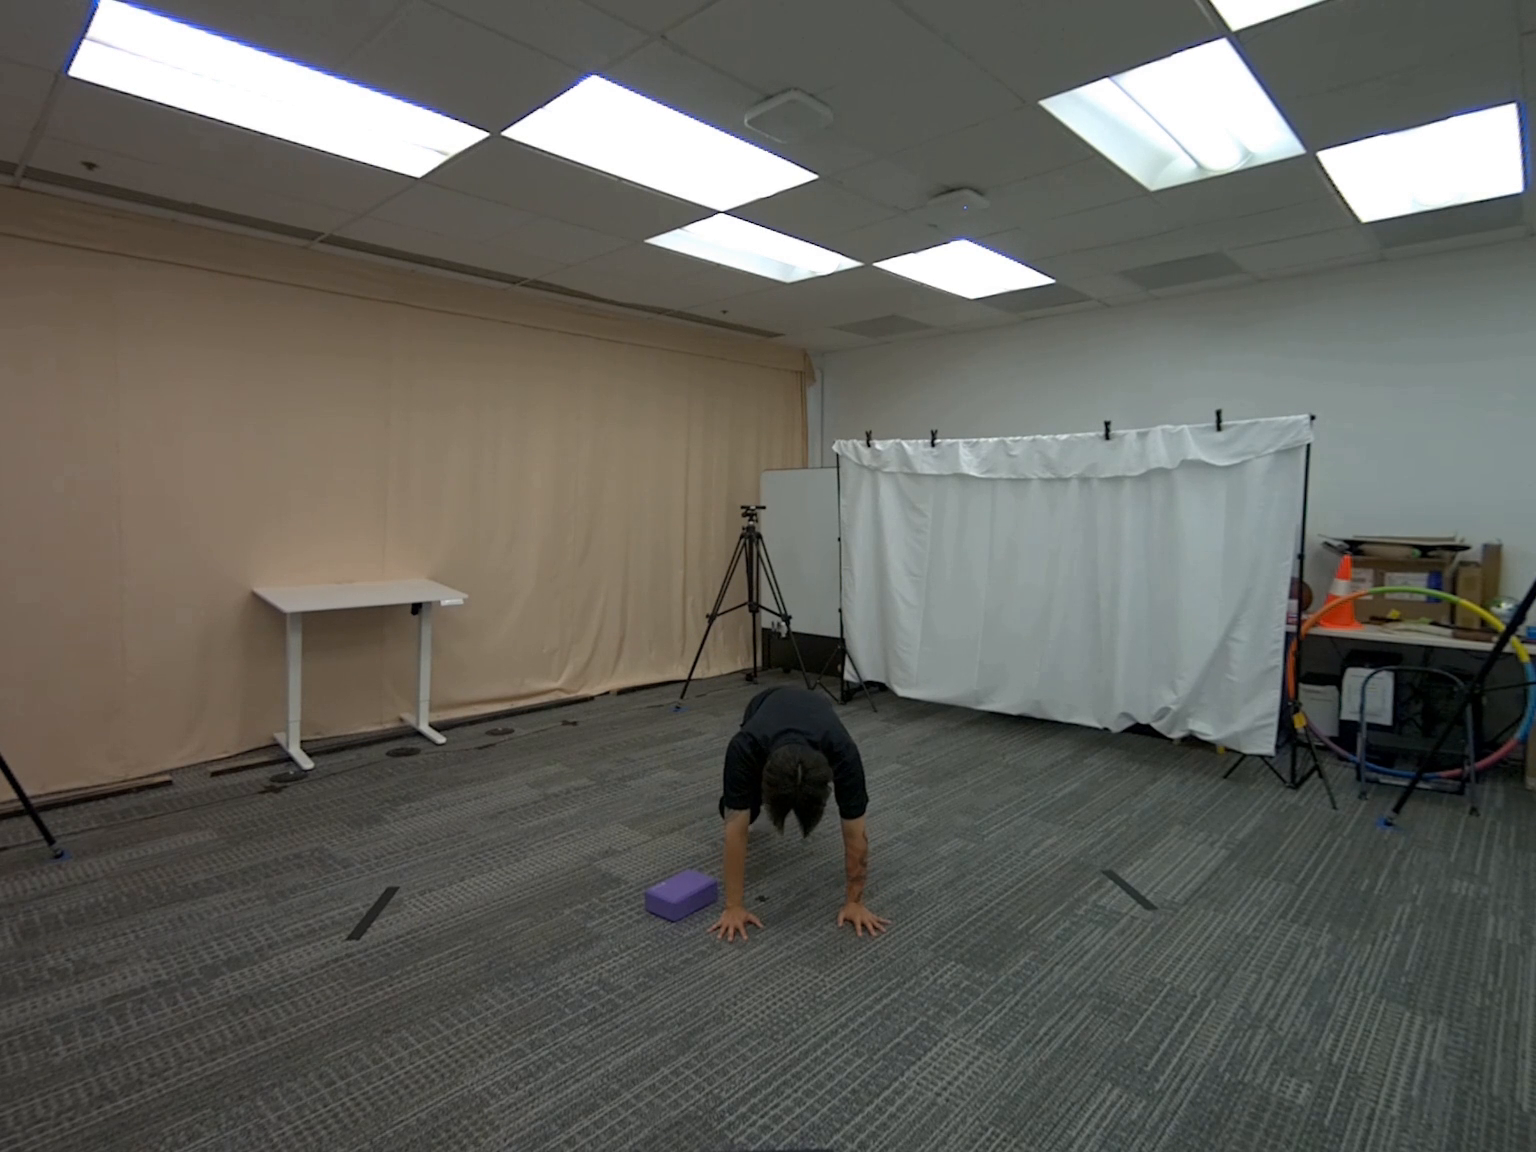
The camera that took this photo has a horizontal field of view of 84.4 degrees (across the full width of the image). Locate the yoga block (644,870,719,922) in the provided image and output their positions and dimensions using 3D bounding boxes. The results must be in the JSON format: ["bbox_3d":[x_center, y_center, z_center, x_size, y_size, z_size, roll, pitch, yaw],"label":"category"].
[{"bbox_3d":[-0.298,1.111,2.930,0.154,0.076,0.222,3,6,38],"label":"yoga block"}]
